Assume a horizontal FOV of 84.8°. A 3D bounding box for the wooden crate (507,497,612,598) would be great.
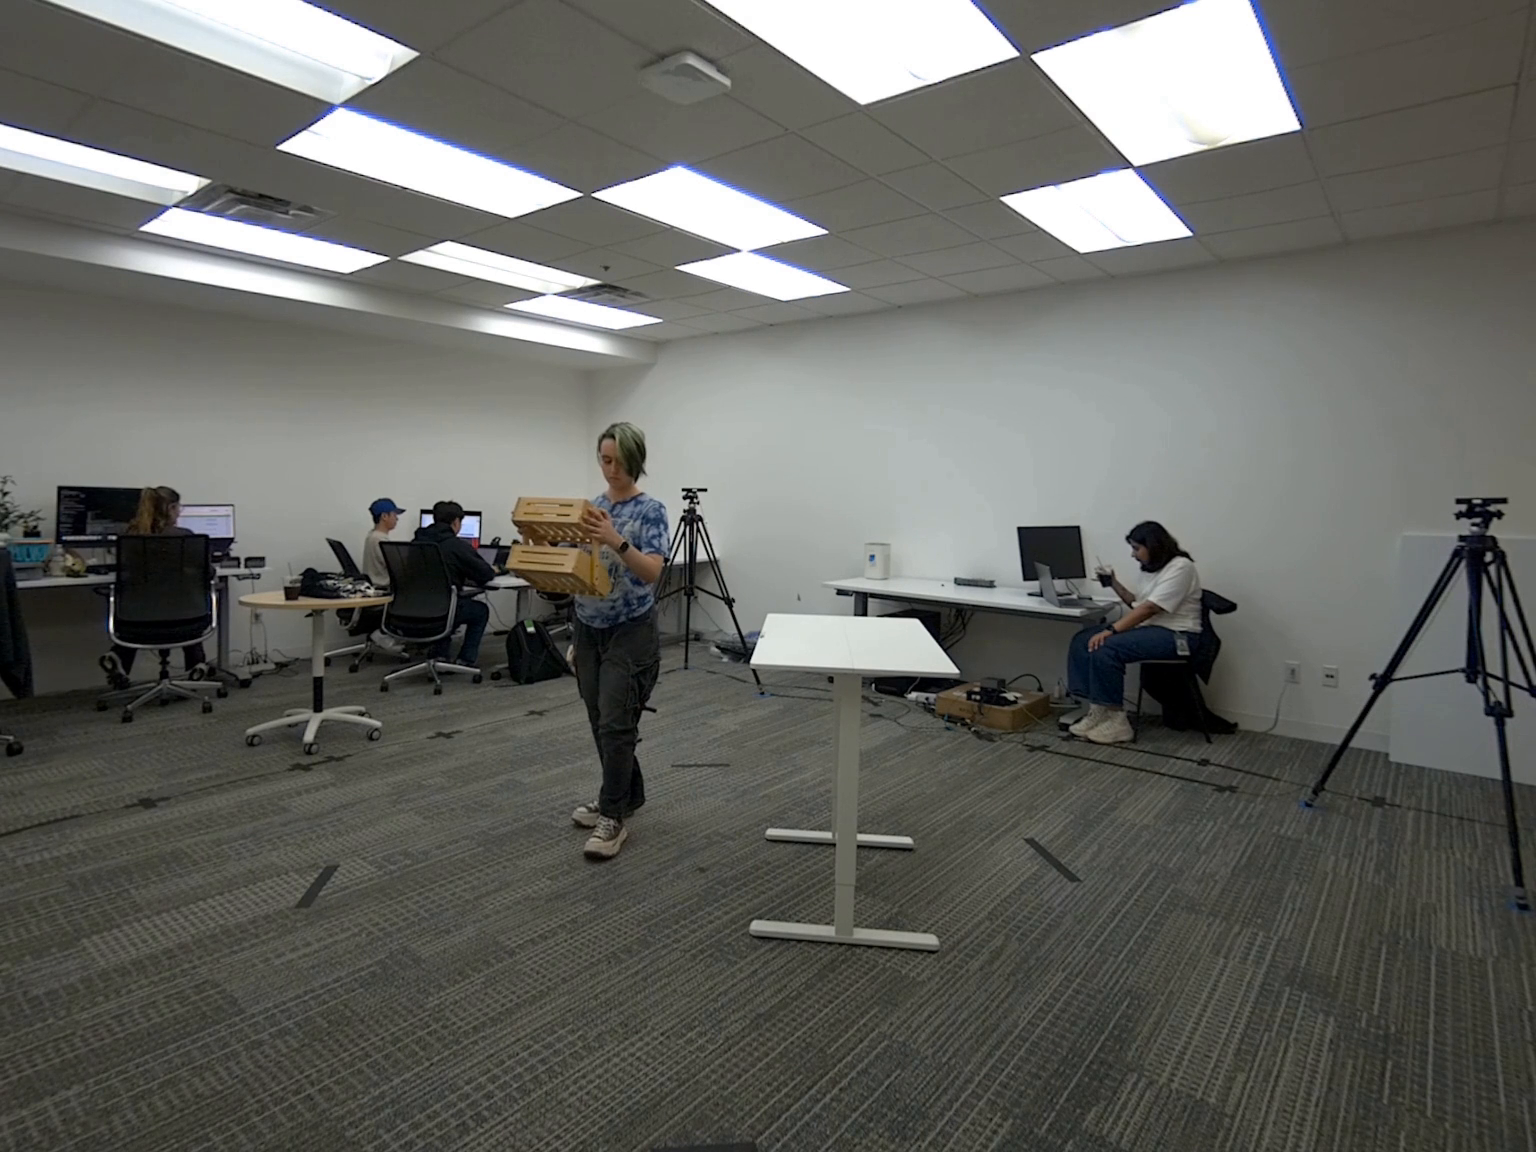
[{"bbox_3d":[-0.760,-0.111,3.117,0.333,0.277,0.290,4,-21,24],"label":"wooden crate"}]
